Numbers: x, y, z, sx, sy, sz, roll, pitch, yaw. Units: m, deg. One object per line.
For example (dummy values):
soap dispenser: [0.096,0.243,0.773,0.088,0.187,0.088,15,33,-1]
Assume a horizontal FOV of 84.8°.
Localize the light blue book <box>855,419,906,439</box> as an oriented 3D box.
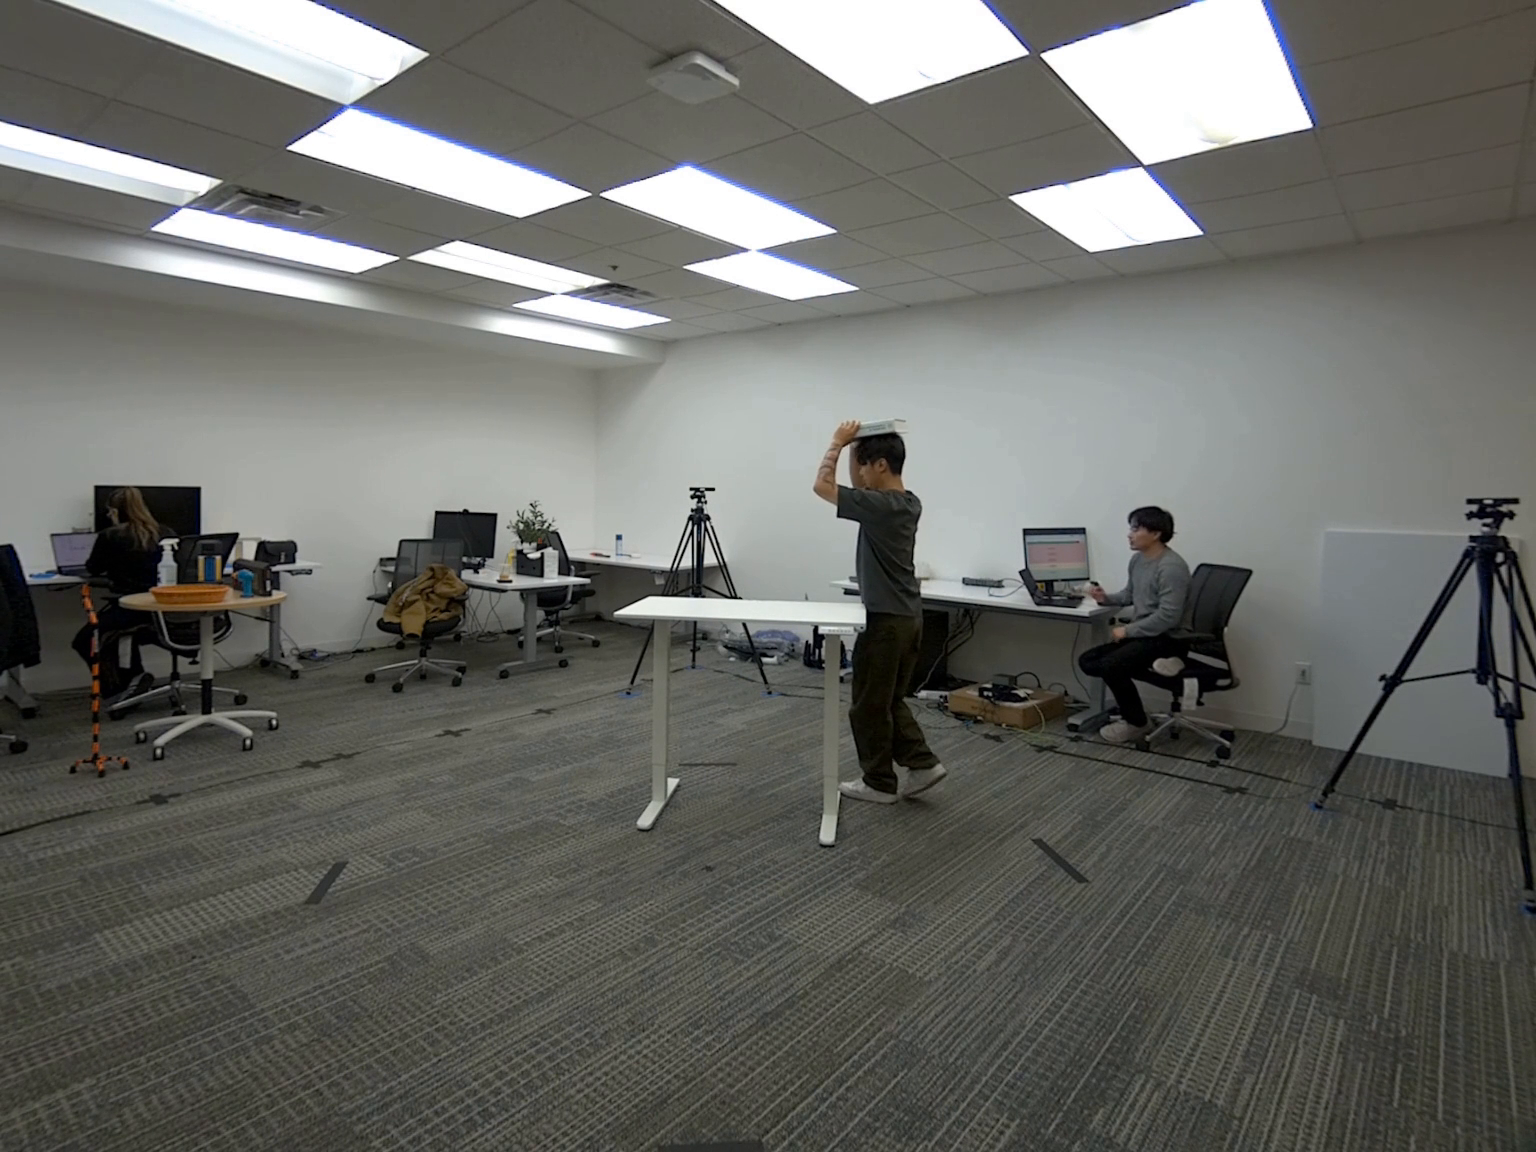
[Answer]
light blue book: [0.467,-0.656,3.785,0.267,0.059,0.188,-4,6,25]
